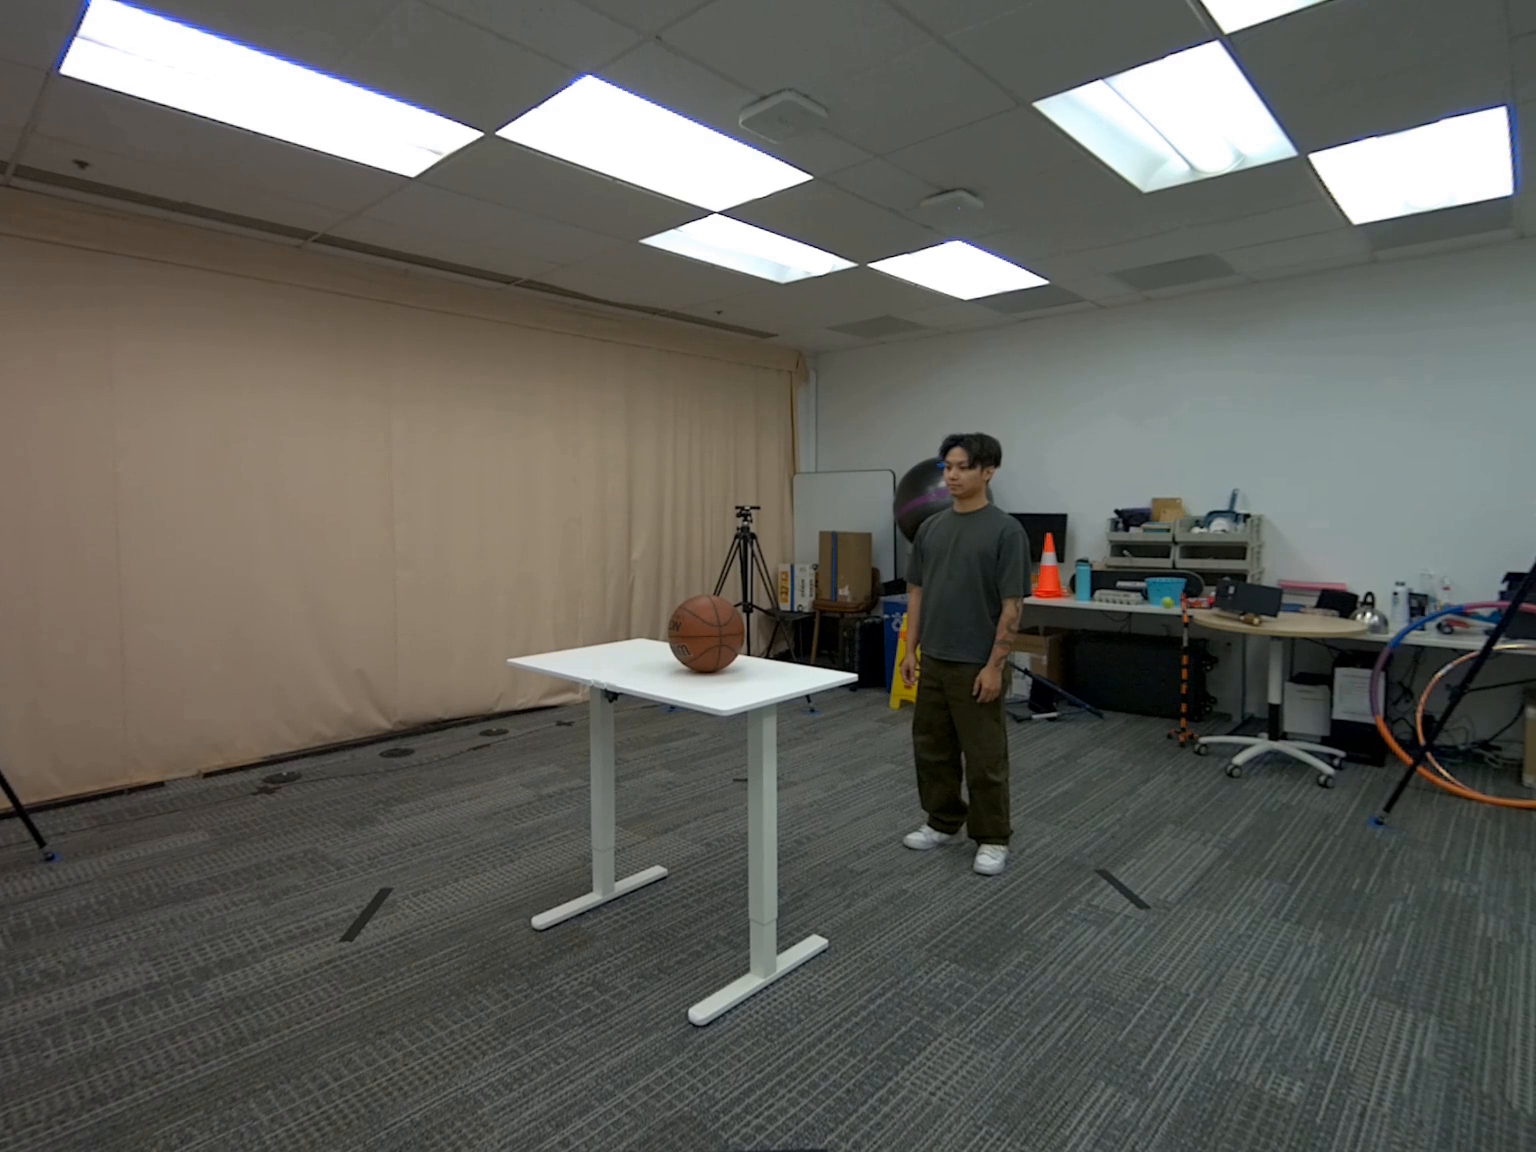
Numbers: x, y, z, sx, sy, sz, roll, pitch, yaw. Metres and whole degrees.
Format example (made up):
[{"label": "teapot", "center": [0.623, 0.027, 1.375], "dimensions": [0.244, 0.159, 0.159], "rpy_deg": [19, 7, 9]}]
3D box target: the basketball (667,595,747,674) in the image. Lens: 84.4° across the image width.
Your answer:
[{"label": "basketball", "center": [-0.190, 0.177, 2.603], "dimensions": [0.236, 0.235, 0.237], "rpy_deg": [0, 4, -2]}]
